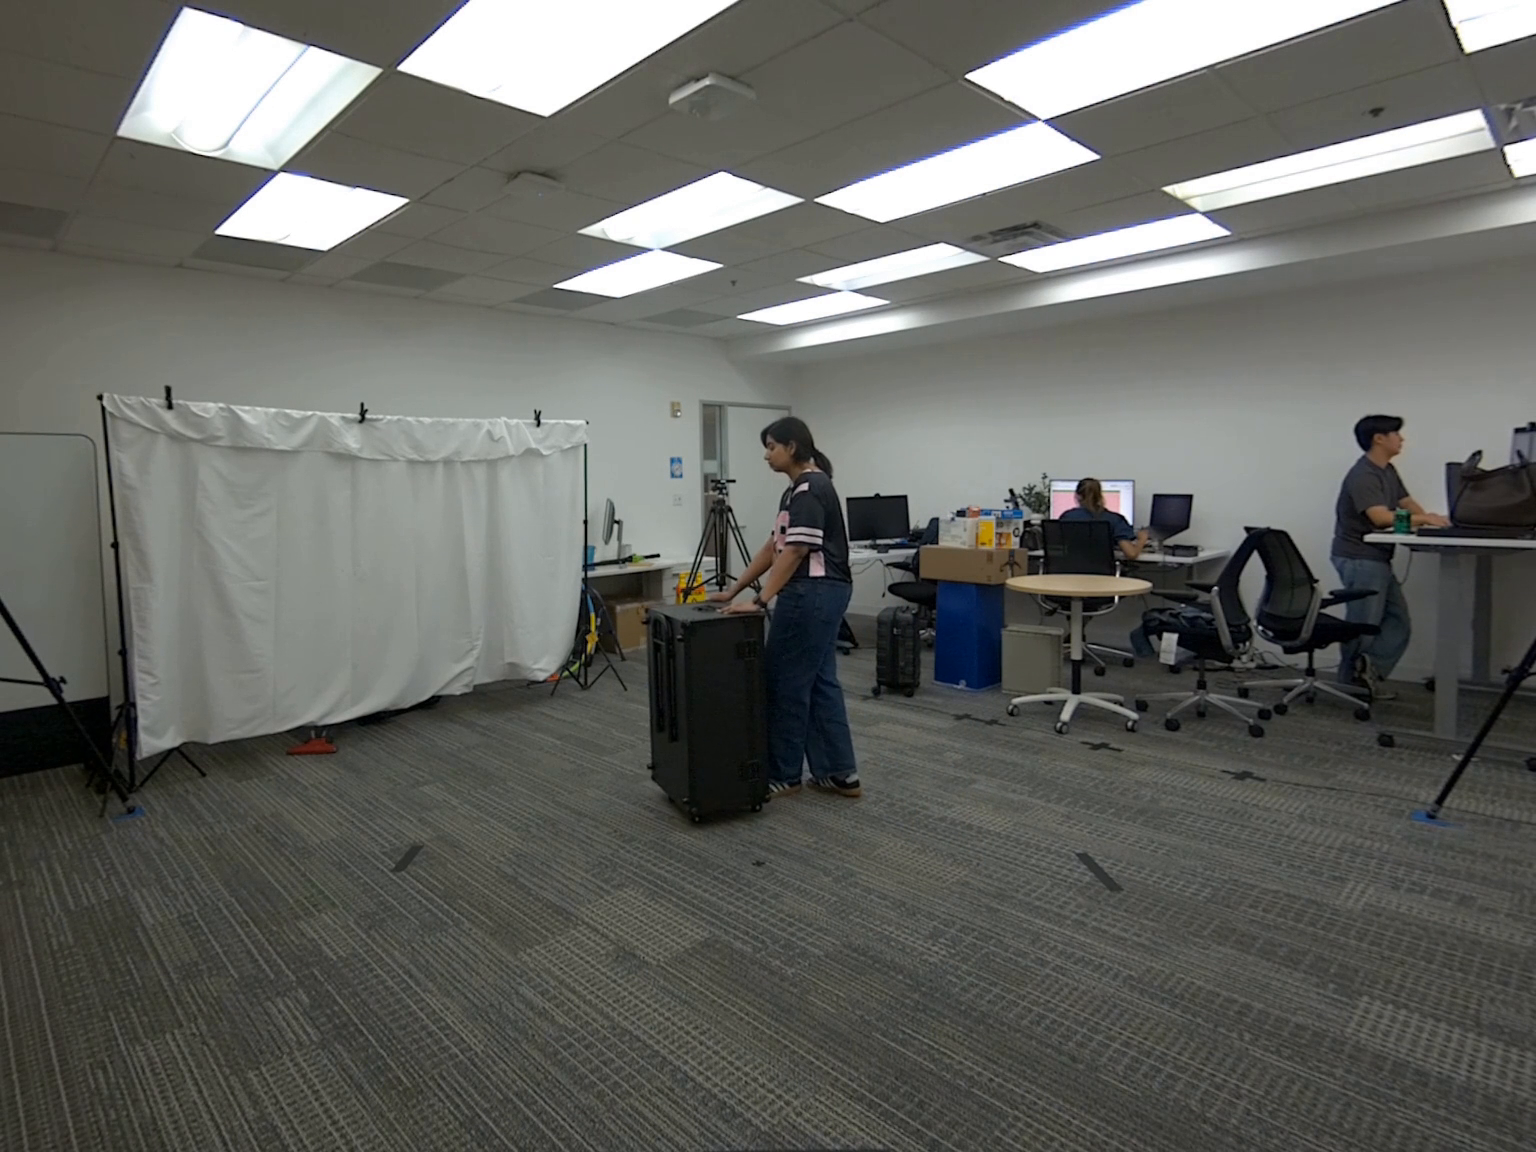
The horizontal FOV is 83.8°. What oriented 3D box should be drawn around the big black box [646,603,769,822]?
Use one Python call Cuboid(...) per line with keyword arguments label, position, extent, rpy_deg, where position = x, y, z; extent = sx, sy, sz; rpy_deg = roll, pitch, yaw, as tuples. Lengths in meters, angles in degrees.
Cuboid(label="big black box", position=(-0.269, 0.570, 3.636), extent=(0.377, 0.866, 0.536), rpy_deg=(-3, 4, -25))
